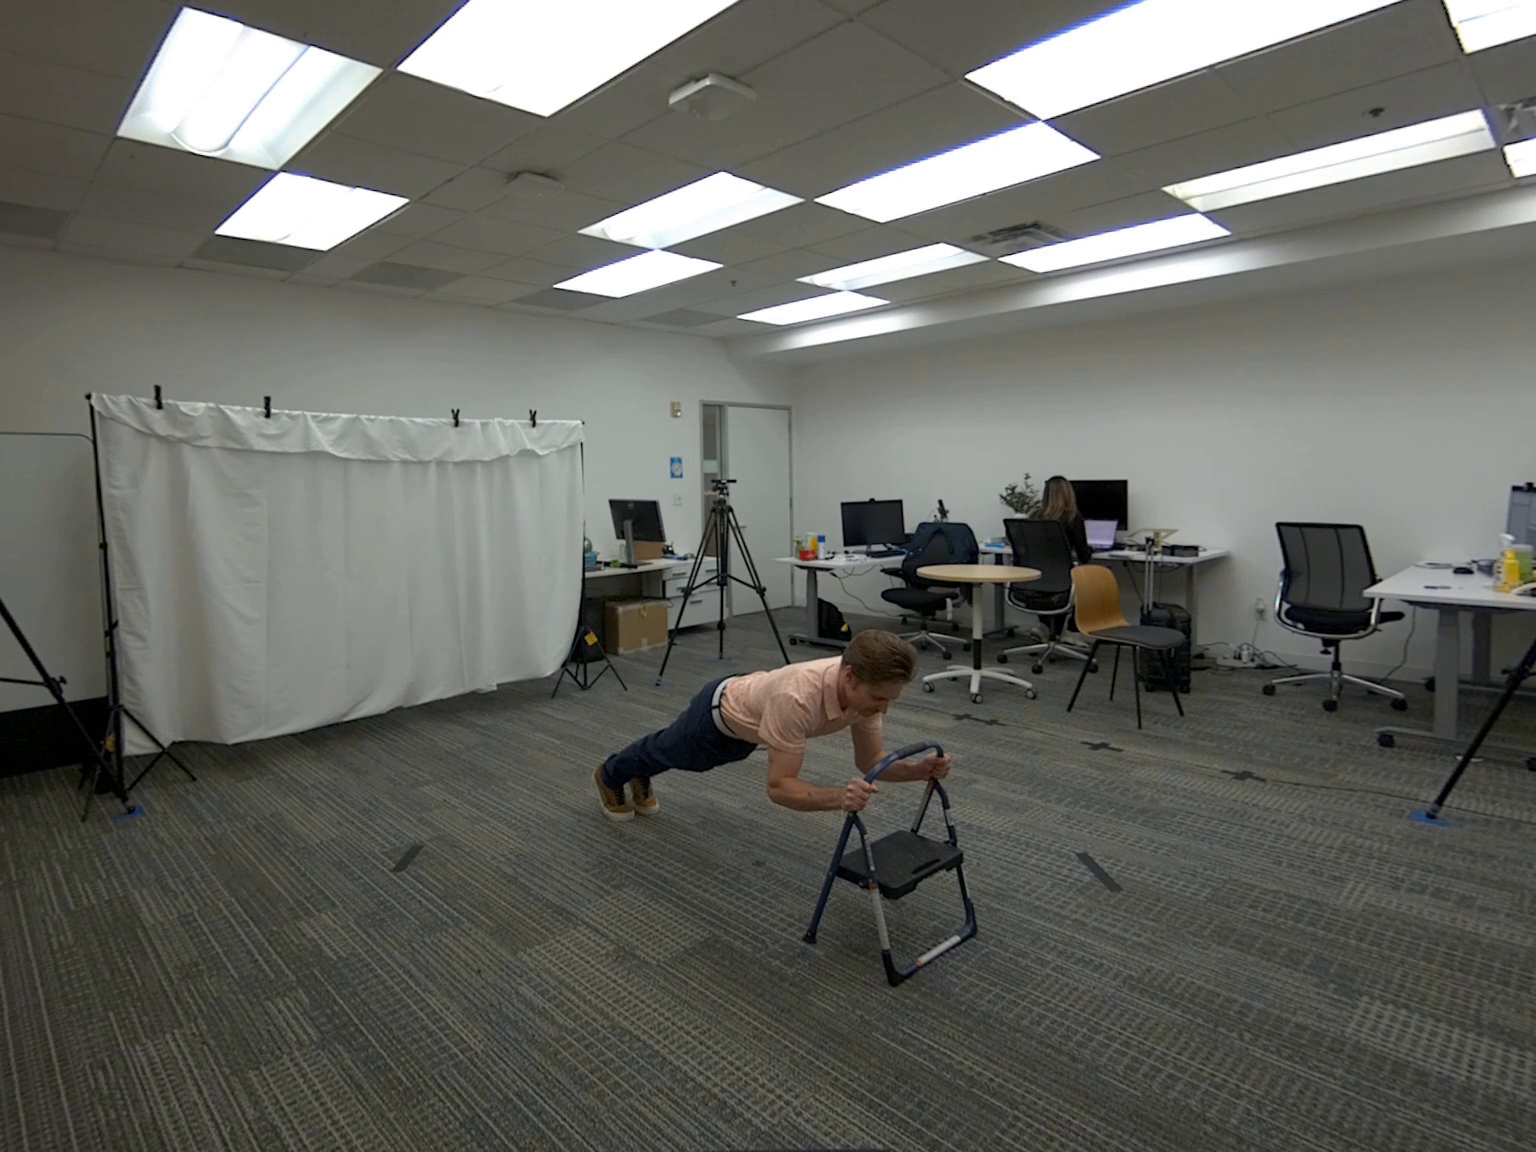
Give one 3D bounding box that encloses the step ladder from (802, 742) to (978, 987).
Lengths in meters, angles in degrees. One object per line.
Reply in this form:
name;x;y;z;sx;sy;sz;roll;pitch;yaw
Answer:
step ladder;0.376;0.800;2.580;0.419;0.604;0.360;-5;6;-43
